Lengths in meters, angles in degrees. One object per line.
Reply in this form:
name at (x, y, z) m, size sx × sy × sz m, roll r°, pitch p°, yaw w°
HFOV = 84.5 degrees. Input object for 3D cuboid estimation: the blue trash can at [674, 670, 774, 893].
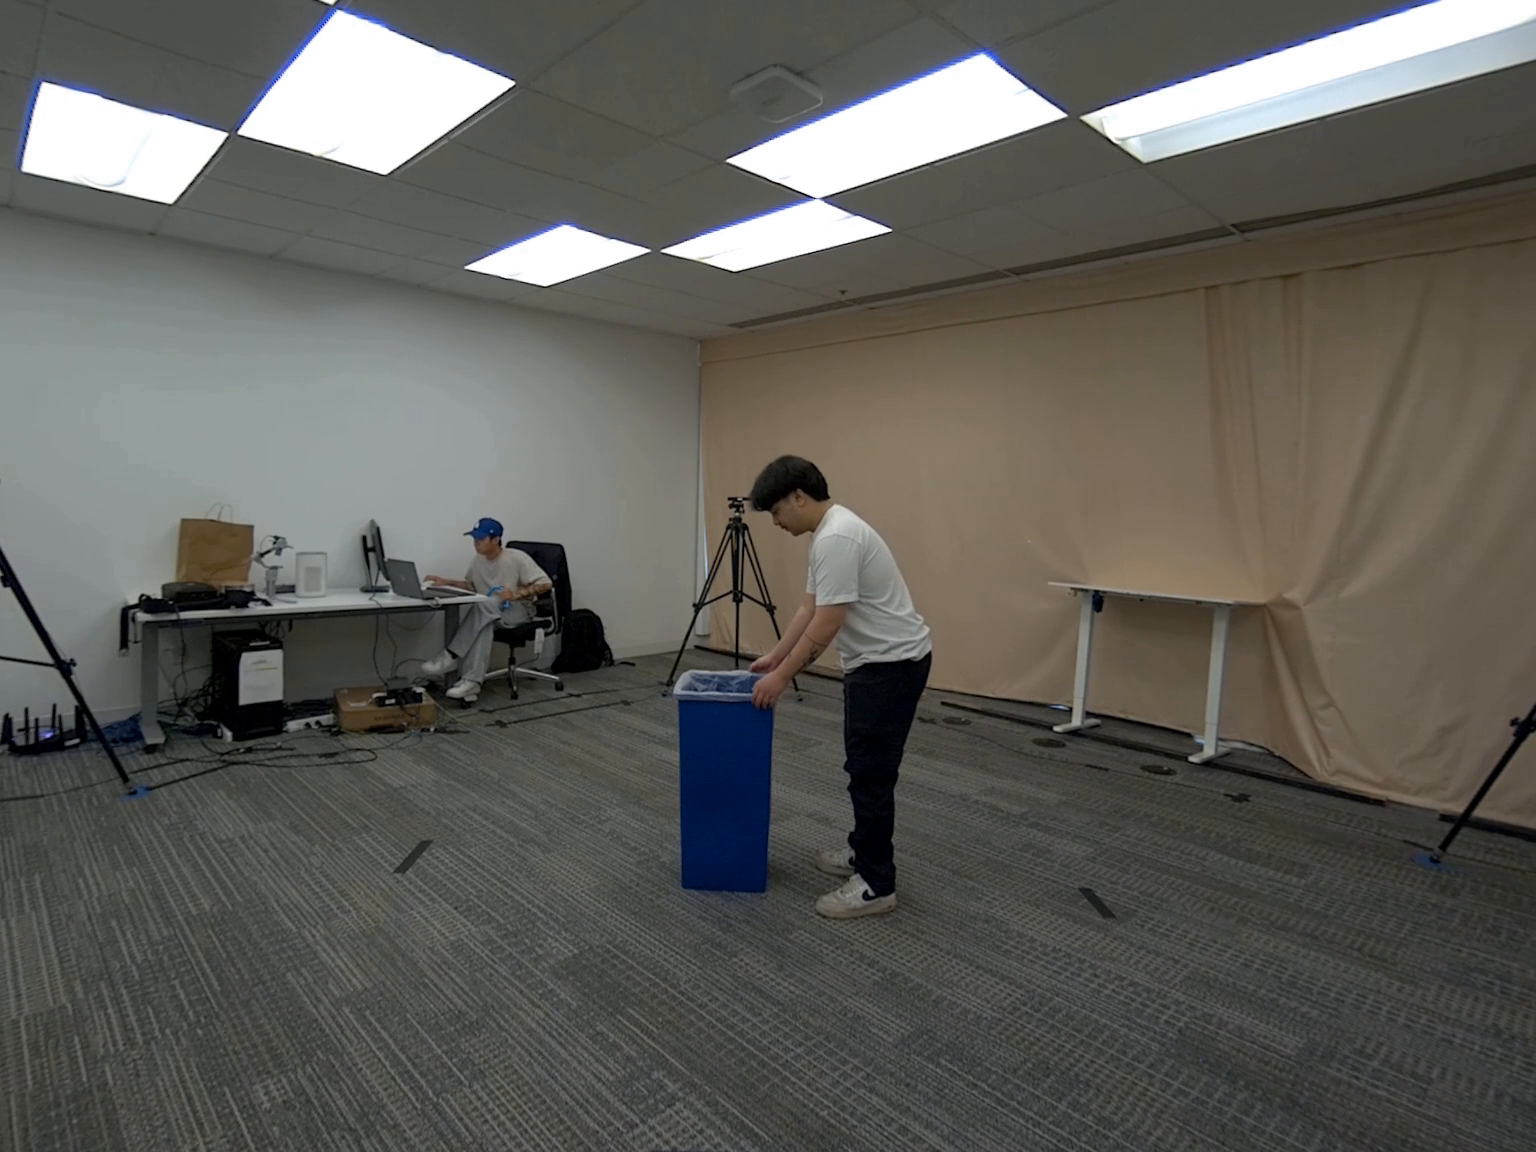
blue trash can at (-0.154, 0.748, 3.113) m, size 0.375 × 0.712 × 0.378 m, roll 2°, pitch 3°, yaw 2°
